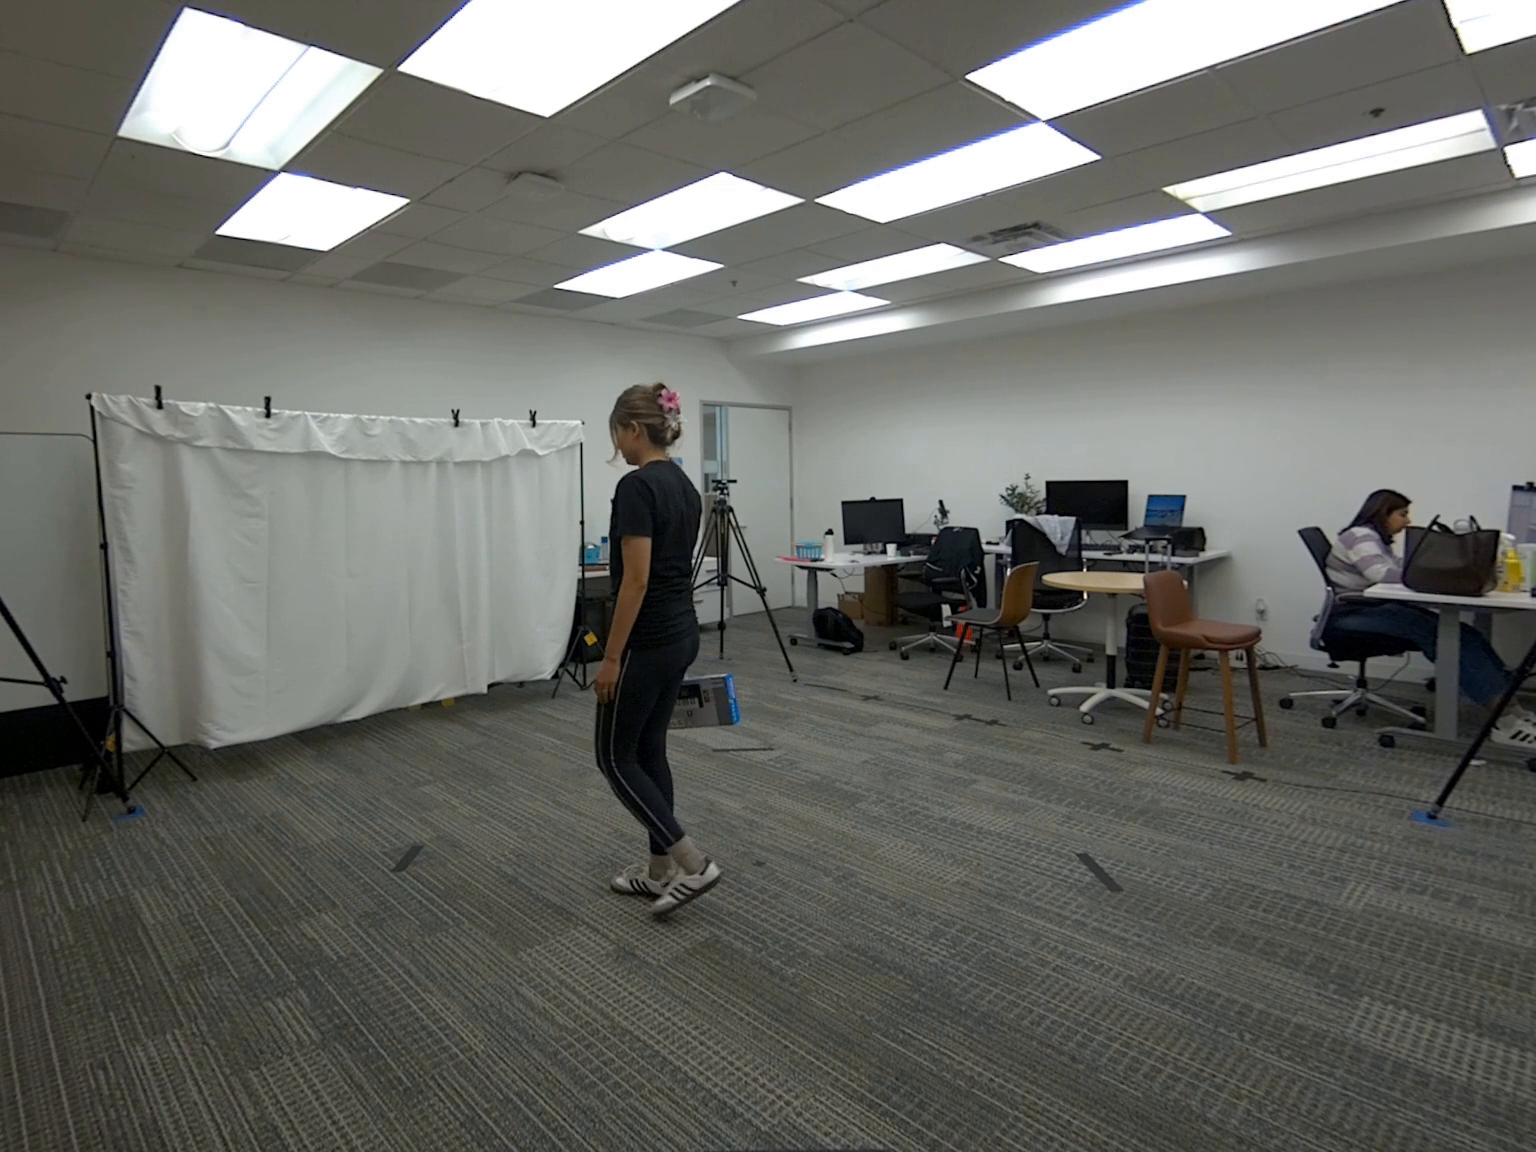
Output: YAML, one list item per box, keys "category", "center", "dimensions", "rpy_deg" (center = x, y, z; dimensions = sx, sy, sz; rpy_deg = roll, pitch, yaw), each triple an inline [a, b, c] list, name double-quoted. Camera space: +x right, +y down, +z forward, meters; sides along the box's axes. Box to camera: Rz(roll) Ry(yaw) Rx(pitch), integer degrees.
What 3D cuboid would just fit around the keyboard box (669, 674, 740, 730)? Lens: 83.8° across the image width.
- category: "keyboard box"
  center: [-0.319, 0.461, 3.078]
  dimensions: [0.445, 0.176, 0.058]
  rpy_deg: [-9, -1, 24]
